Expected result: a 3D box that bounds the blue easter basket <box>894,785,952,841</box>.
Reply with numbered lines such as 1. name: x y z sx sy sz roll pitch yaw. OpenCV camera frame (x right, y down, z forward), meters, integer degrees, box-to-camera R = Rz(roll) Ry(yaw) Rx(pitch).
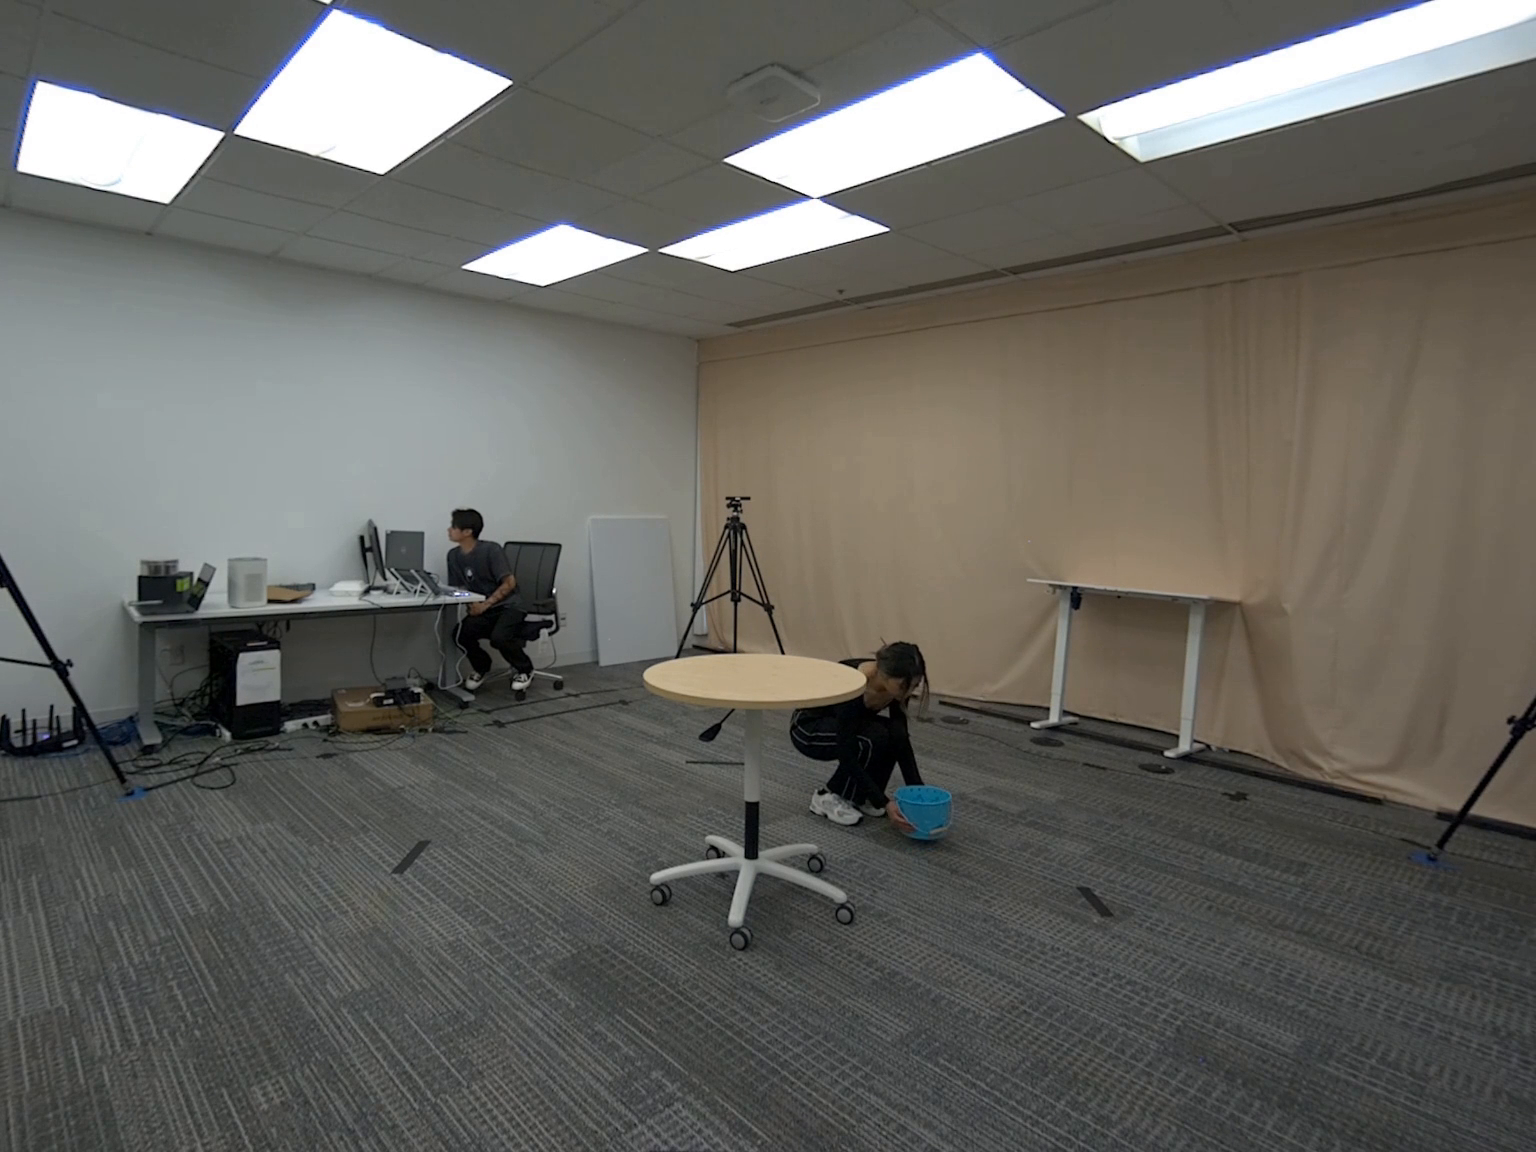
1. blue easter basket: 0.616 0.960 3.452 0.243 0.156 0.244 -1 2 -1
